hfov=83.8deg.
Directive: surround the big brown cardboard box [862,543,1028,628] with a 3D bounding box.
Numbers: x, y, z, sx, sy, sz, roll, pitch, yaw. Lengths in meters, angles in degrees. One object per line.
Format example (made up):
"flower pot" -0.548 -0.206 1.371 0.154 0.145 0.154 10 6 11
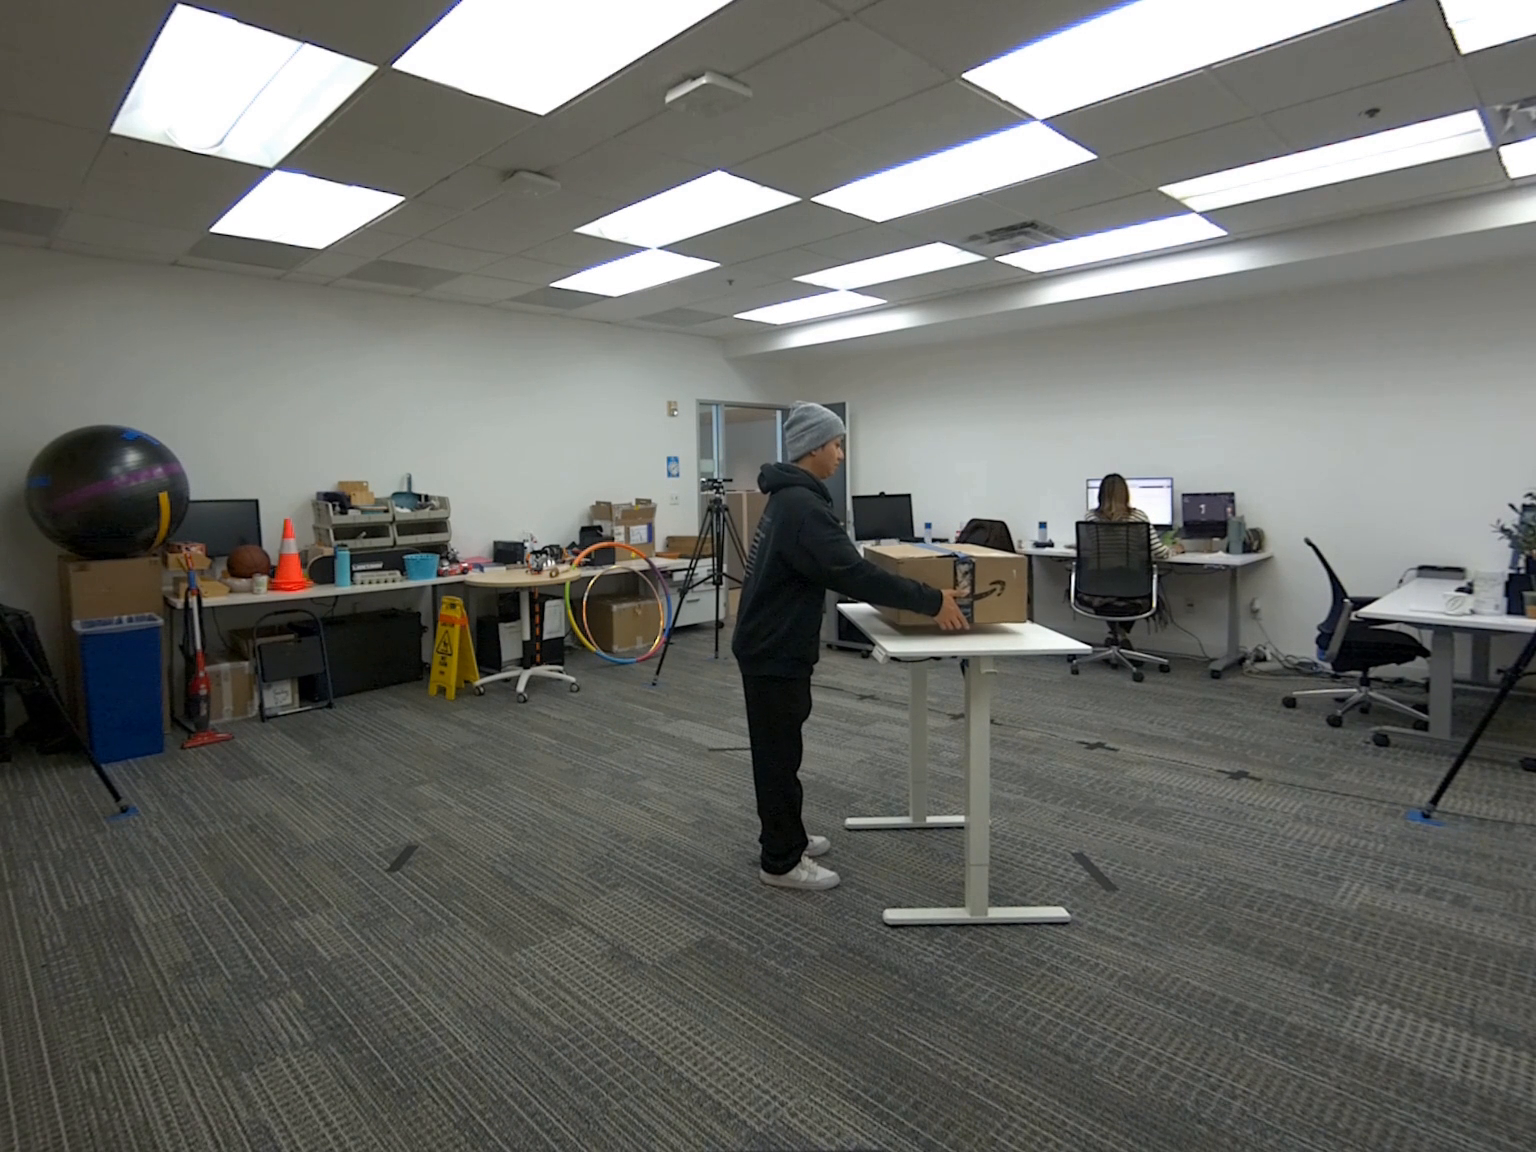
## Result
"big brown cardboard box" 0.585 0.017 2.990 0.416 0.232 0.593 -1 5 -4
